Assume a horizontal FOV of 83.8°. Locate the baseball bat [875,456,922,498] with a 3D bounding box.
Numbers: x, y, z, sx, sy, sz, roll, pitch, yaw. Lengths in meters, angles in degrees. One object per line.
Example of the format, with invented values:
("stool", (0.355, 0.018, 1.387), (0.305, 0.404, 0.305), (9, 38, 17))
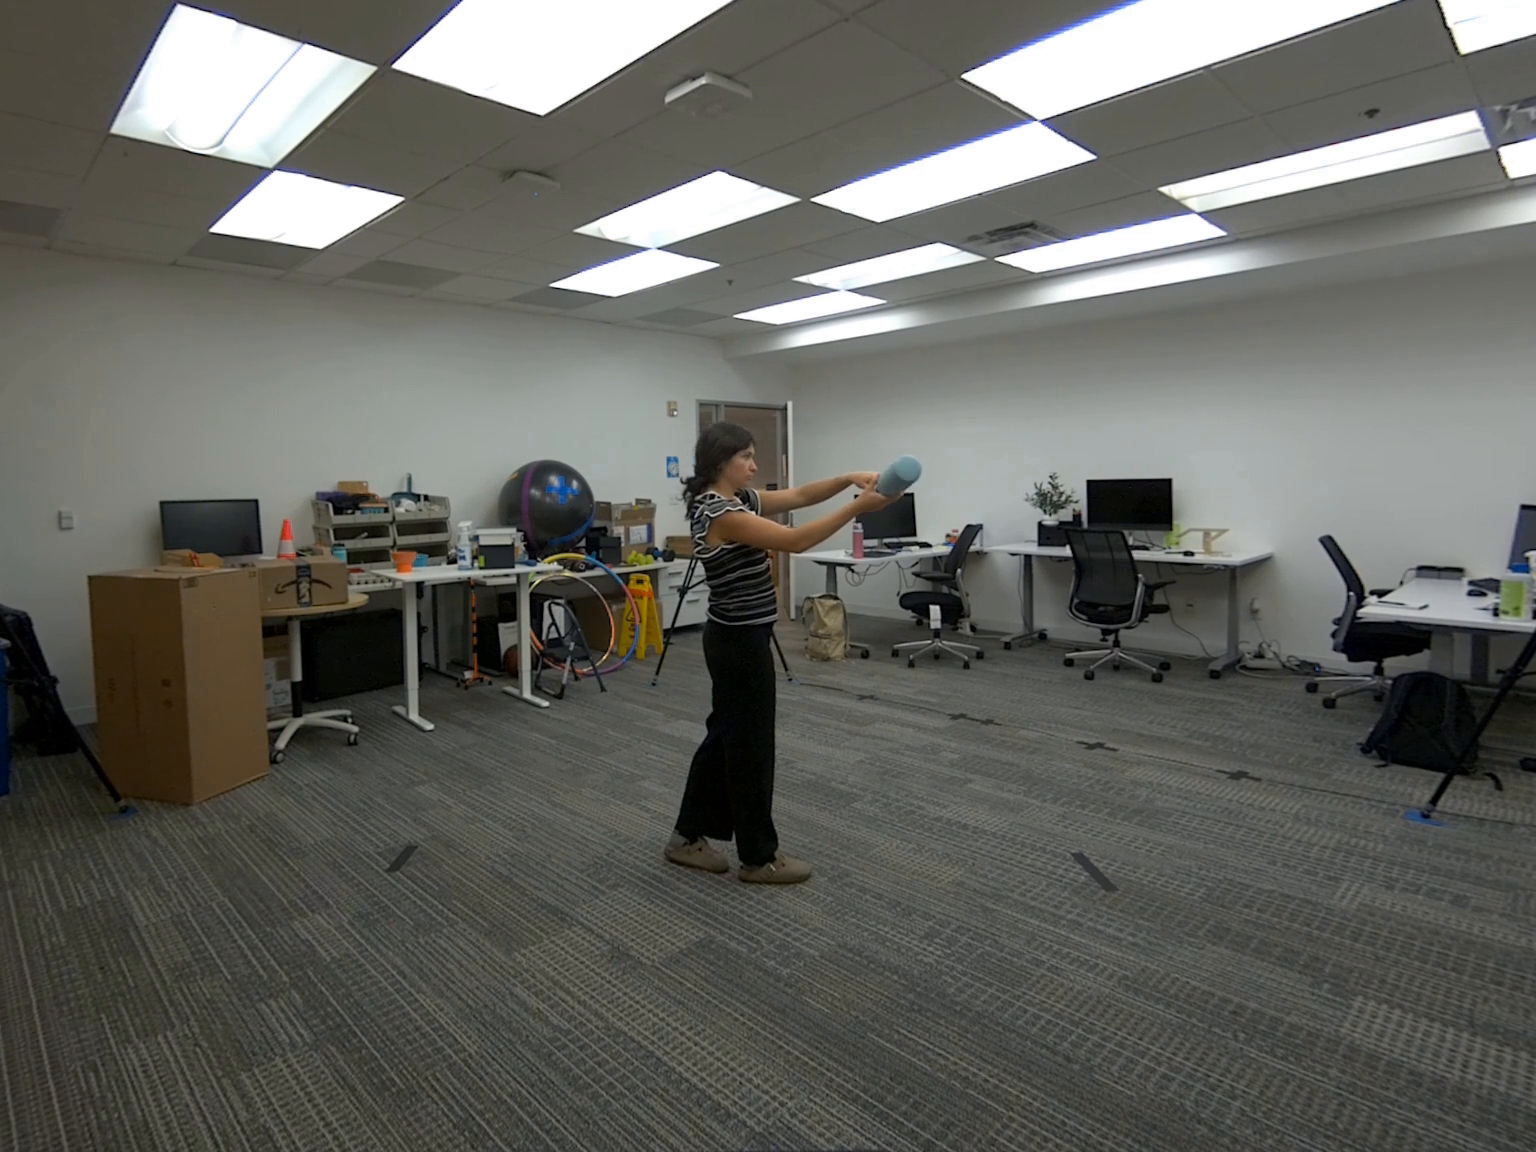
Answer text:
("baseball bat", (0.388, -0.282, 2.788), (0.089, 0.090, 0.540), (-1, -8, -5))
